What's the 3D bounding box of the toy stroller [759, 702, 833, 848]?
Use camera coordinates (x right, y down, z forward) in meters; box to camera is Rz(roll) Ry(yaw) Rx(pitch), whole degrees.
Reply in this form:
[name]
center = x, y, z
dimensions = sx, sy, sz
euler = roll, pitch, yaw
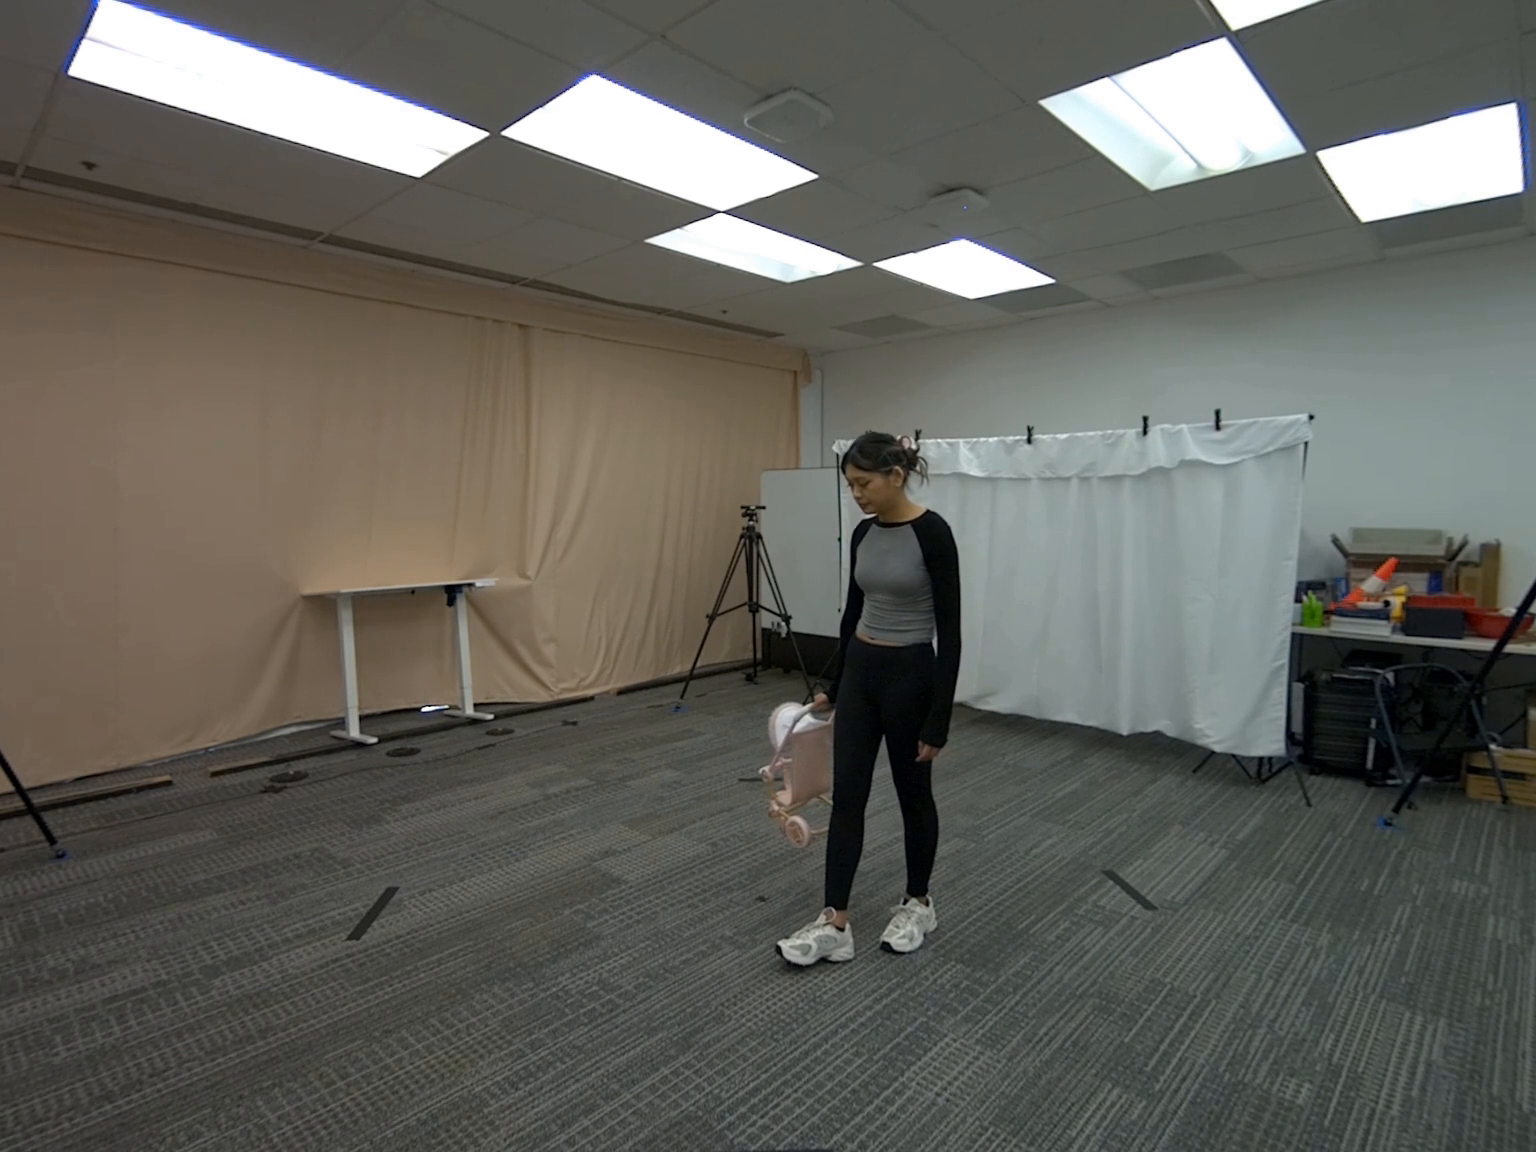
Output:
[toy stroller]
center = 0.121, 0.687, 2.964
dimensions = 0.274, 0.534, 0.351
euler = -8, 3, -32
